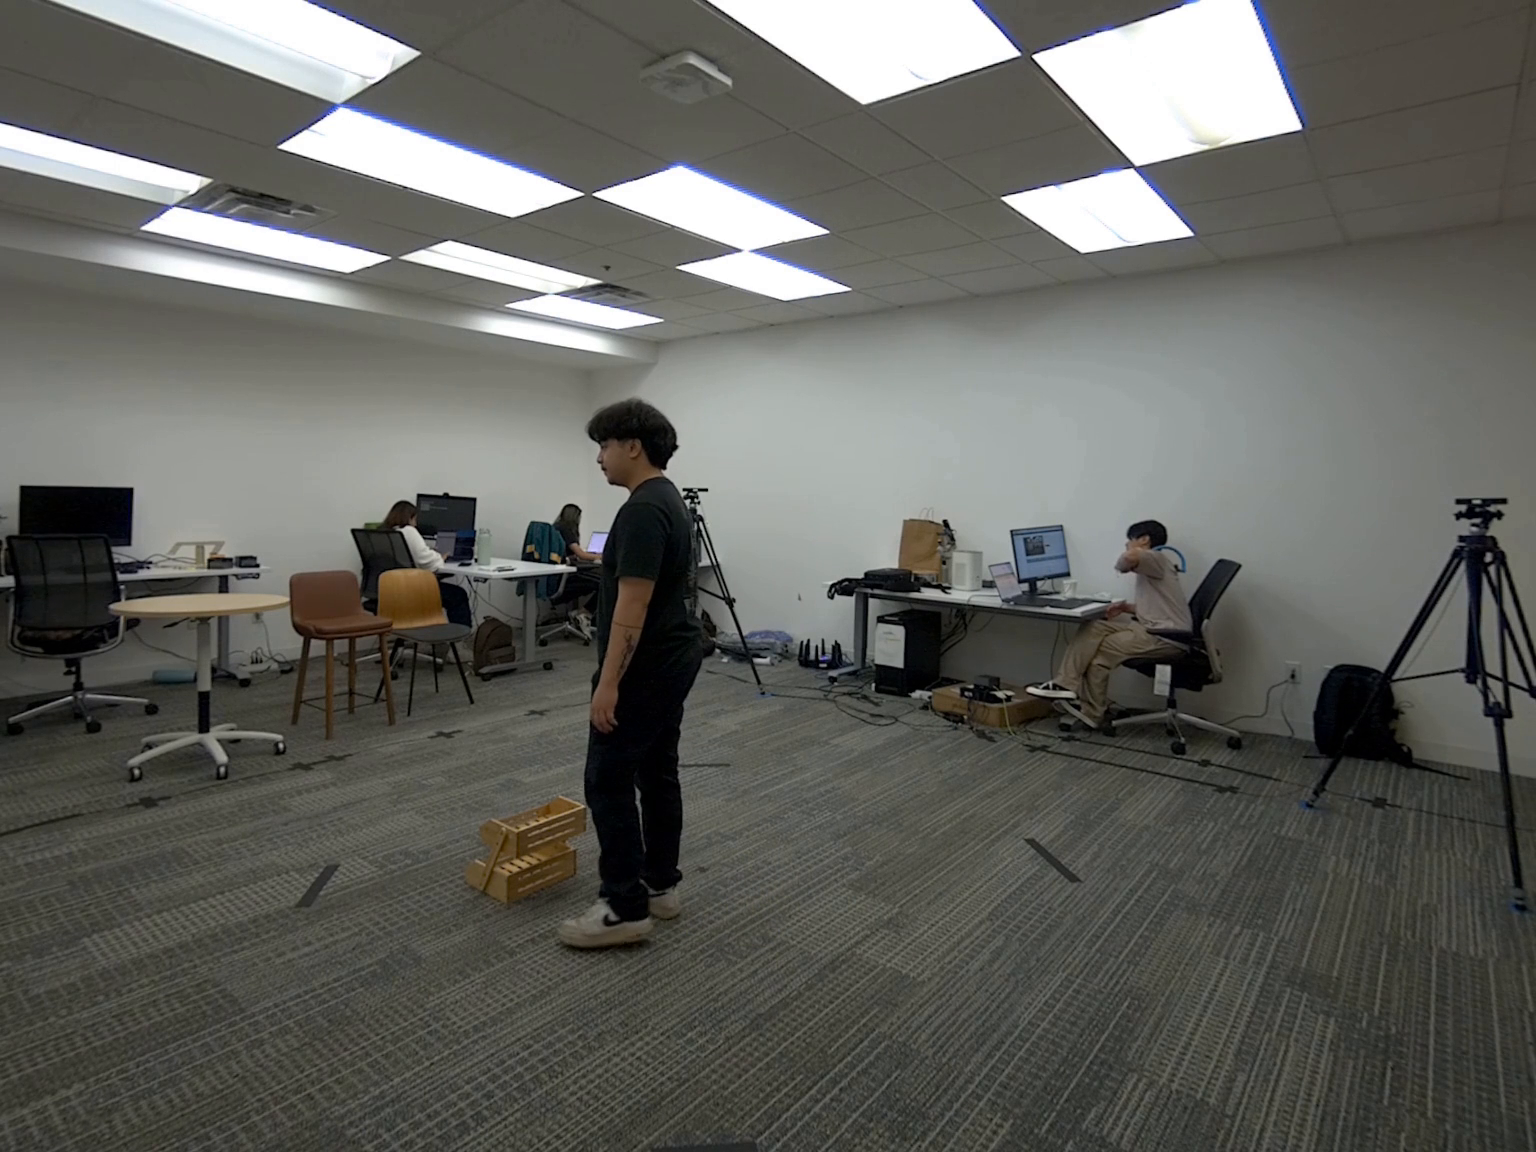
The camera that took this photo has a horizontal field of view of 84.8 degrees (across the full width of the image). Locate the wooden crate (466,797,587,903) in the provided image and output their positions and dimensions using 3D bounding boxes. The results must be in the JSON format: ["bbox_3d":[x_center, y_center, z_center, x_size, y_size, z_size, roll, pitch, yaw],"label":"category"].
[{"bbox_3d":[-0.873,0.937,2.997,0.312,0.272,0.315,5,6,38],"label":"wooden crate"}]
